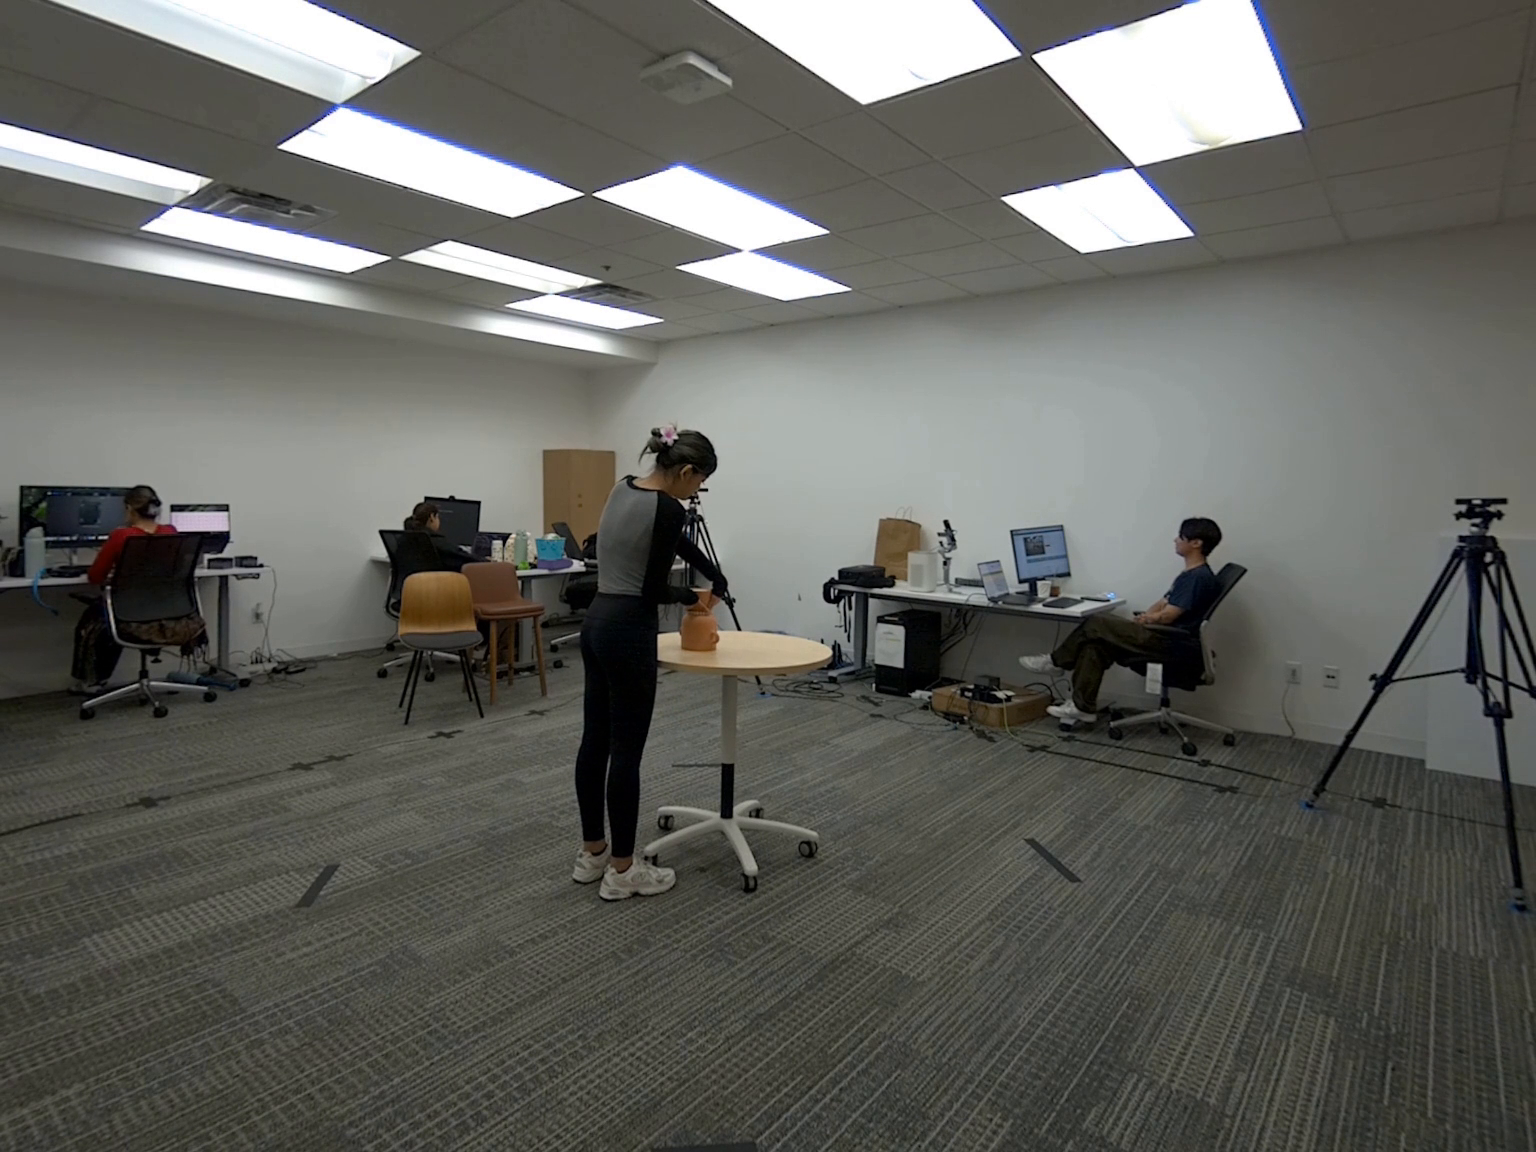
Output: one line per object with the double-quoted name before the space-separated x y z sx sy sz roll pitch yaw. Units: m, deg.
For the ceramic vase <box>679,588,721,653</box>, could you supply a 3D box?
"ceramic vase" -0.268 0.159 3.176 0.159 0.219 0.135 3 4 0
